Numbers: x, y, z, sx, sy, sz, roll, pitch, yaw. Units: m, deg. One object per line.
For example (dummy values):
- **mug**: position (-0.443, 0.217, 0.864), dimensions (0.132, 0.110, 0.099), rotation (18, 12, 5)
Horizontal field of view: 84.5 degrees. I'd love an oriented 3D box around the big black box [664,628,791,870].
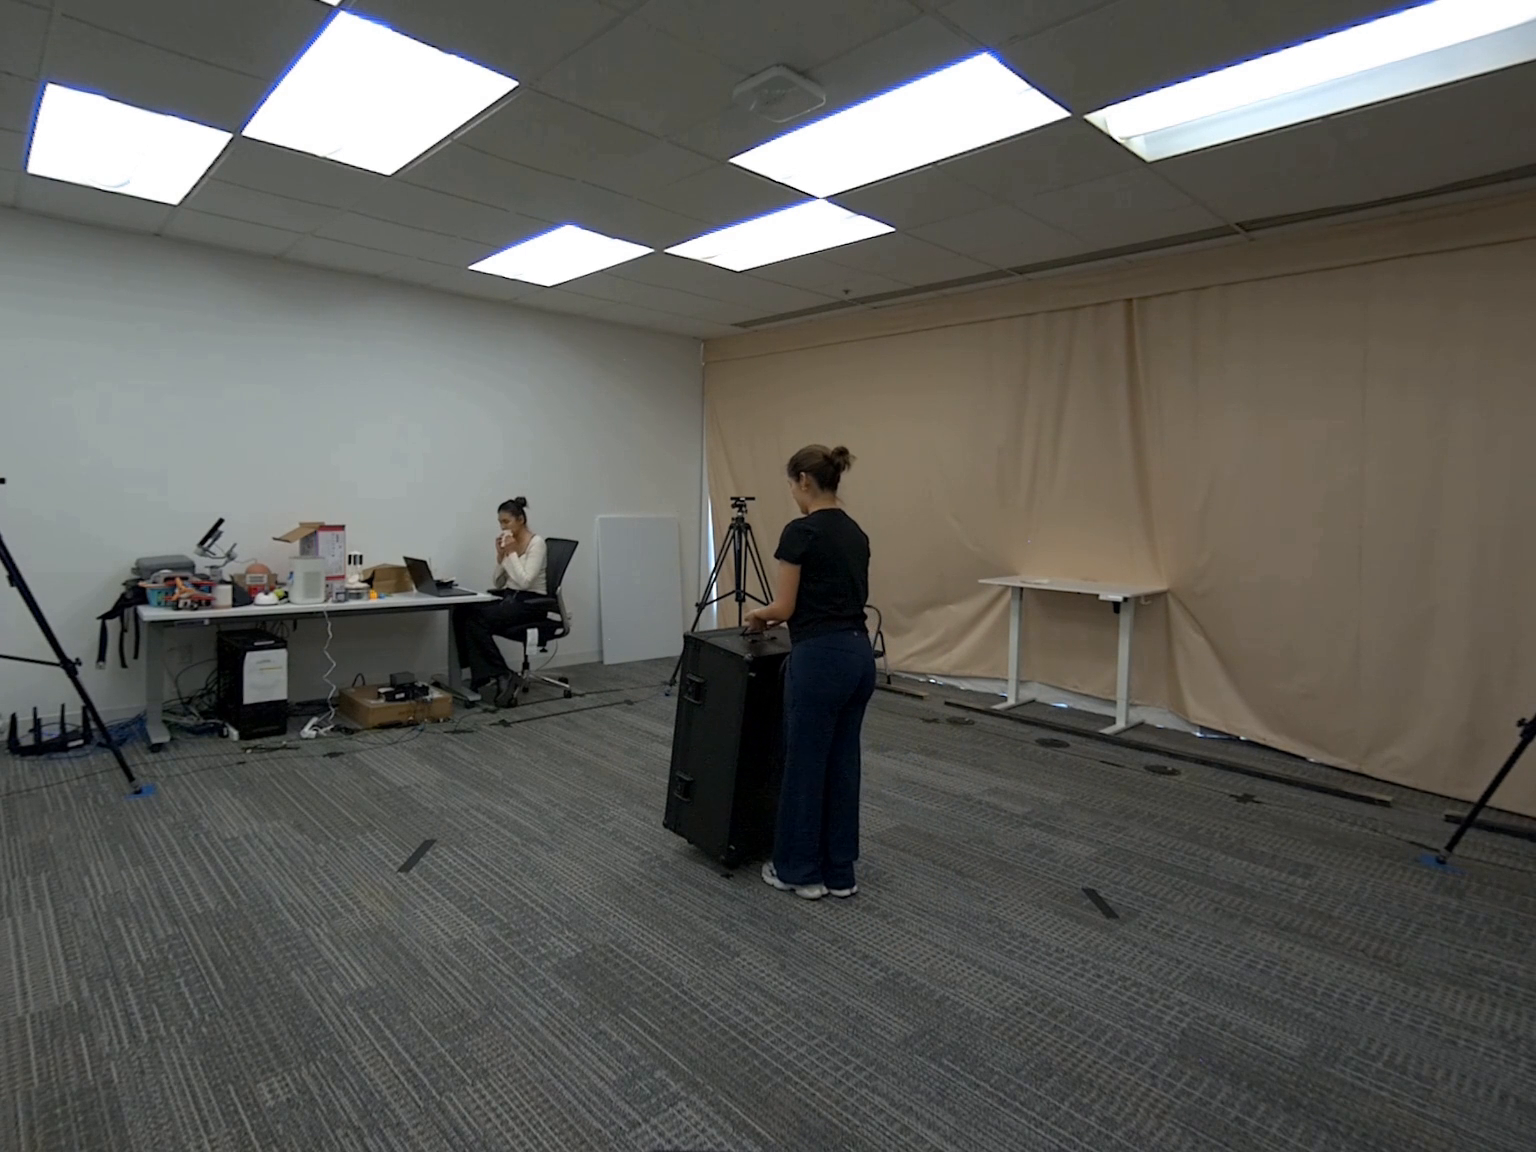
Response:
- **big black box**: position (-0.072, 0.659, 3.272), dimensions (0.408, 0.857, 0.509), rotation (15, 11, 42)
